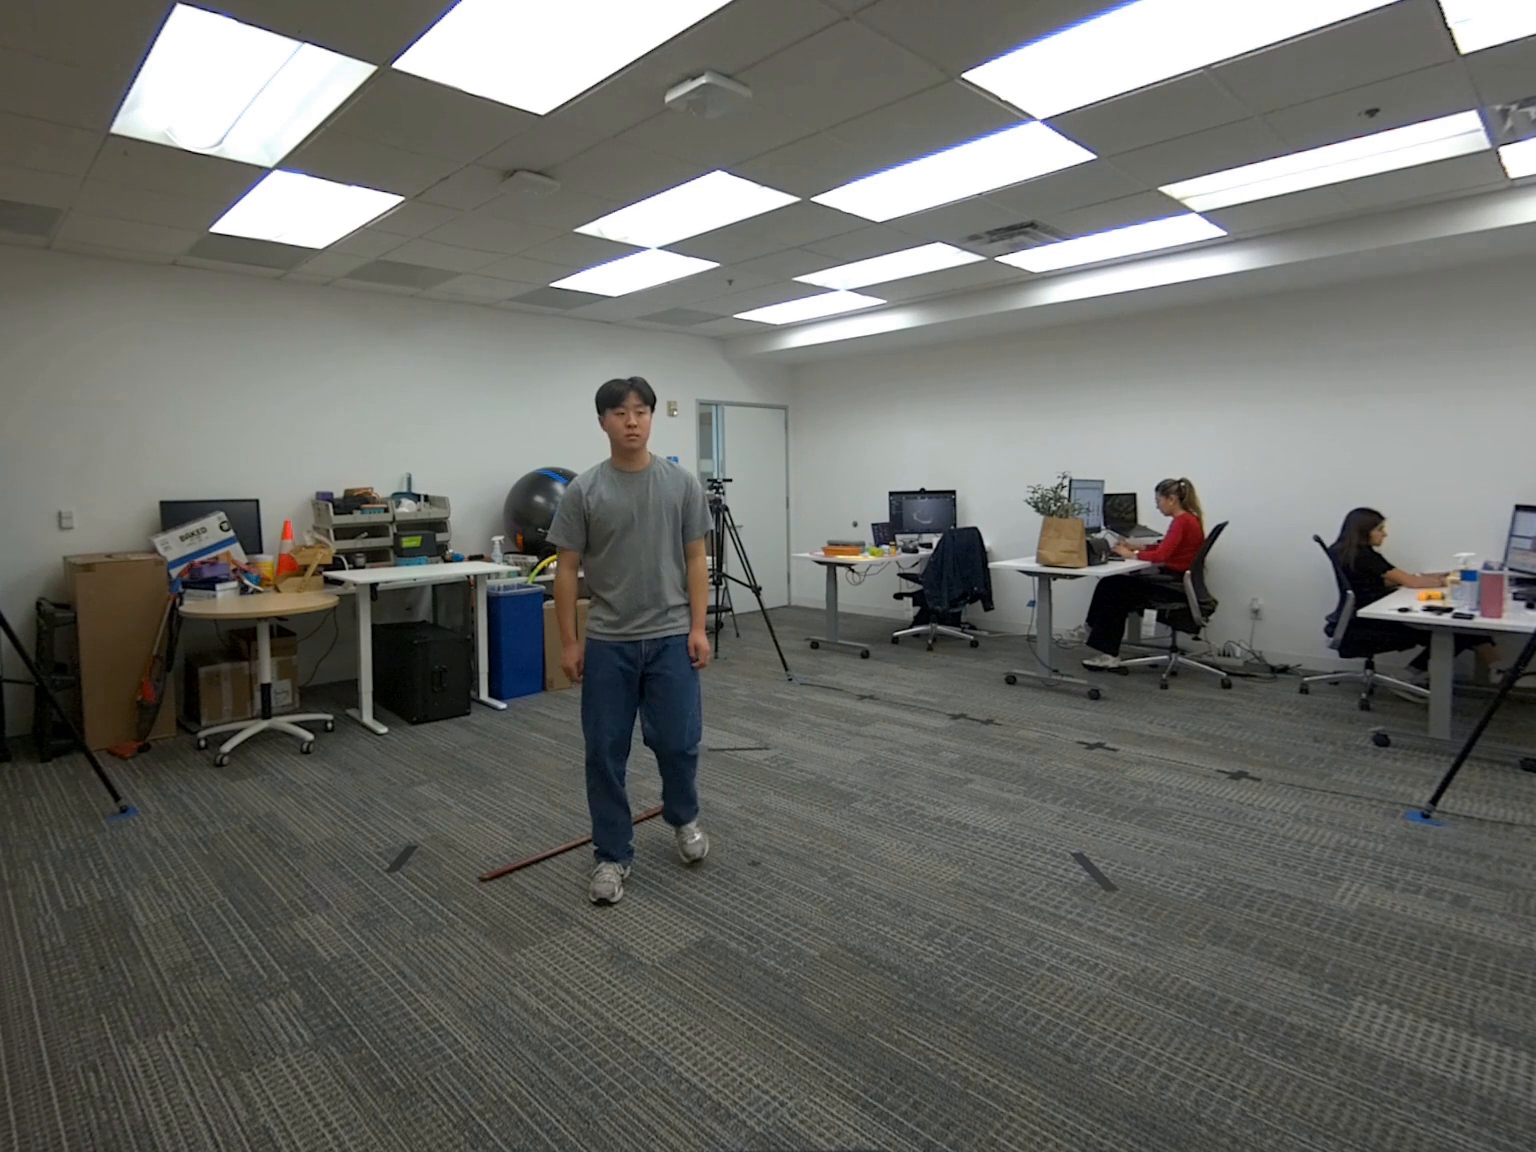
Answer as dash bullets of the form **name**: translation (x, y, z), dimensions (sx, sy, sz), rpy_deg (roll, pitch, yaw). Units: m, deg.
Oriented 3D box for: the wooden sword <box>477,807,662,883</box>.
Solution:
- **wooden sword**: translation (-0.663, 1.005, 3.353), dimensions (0.053, 0.024, 0.998), rpy_deg (3, 8, 42)
